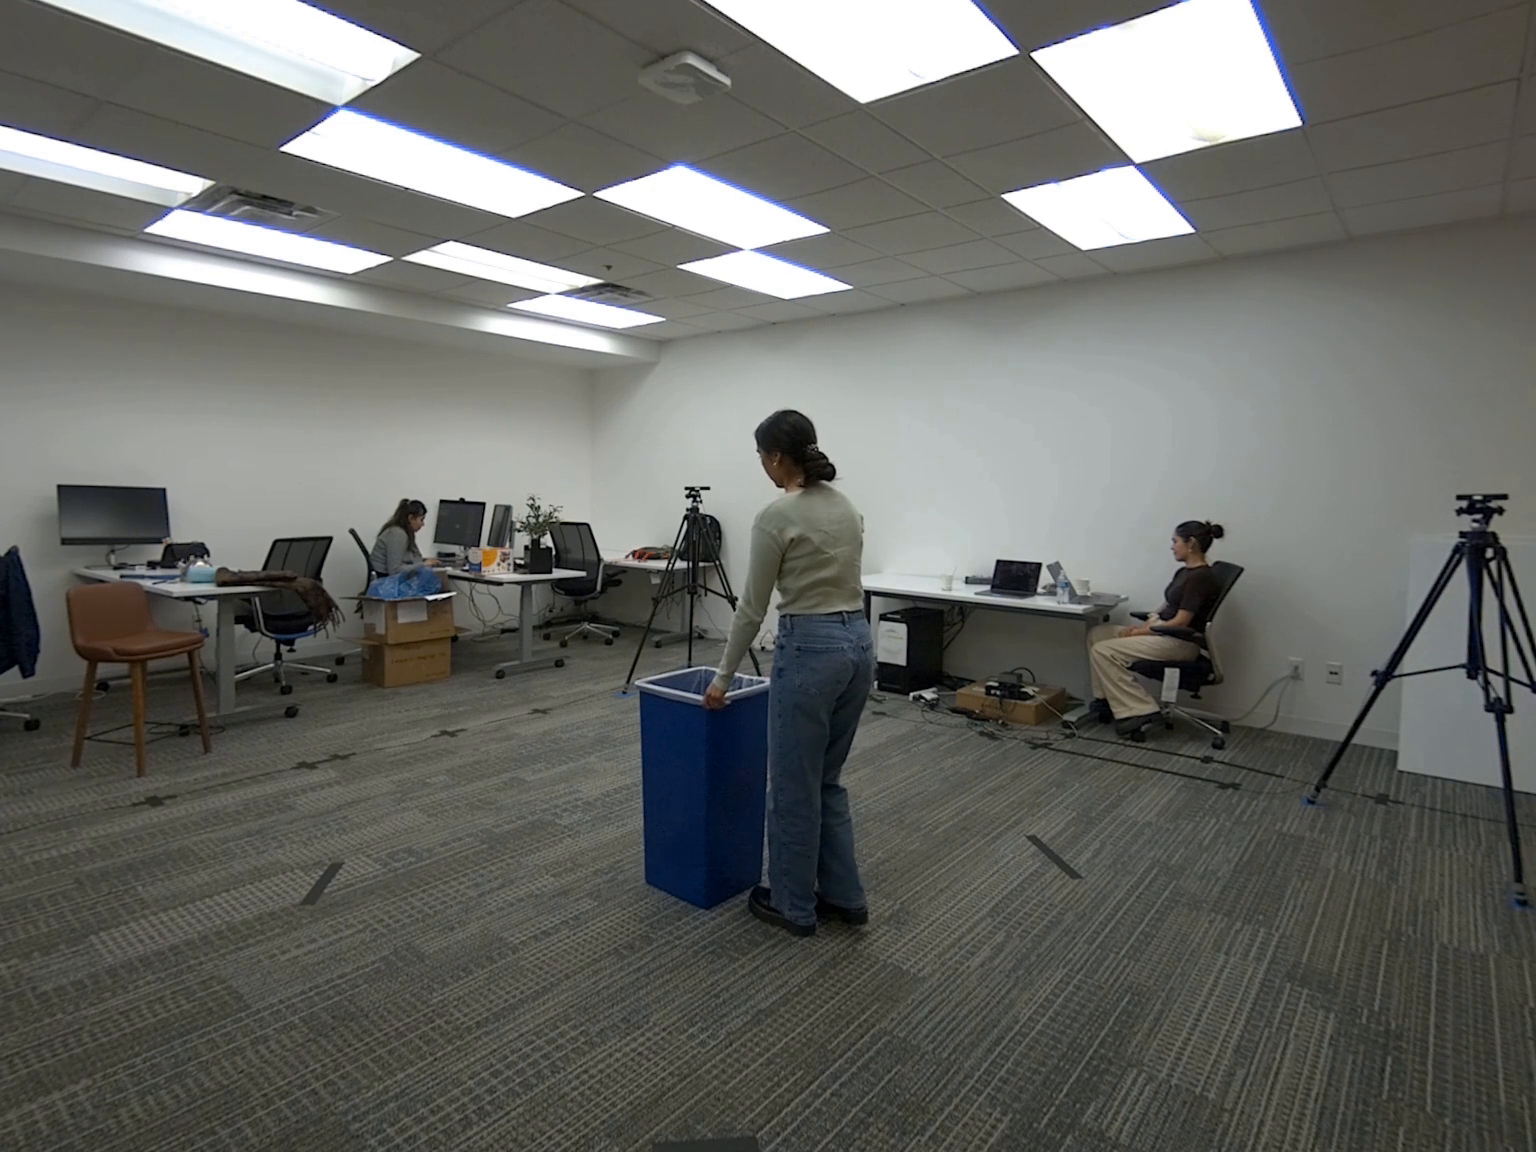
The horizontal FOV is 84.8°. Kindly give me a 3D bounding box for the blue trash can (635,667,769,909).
[{"bbox_3d":[-0.234,0.720,2.977,0.391,0.712,0.363,3,4,41],"label":"blue trash can"}]
